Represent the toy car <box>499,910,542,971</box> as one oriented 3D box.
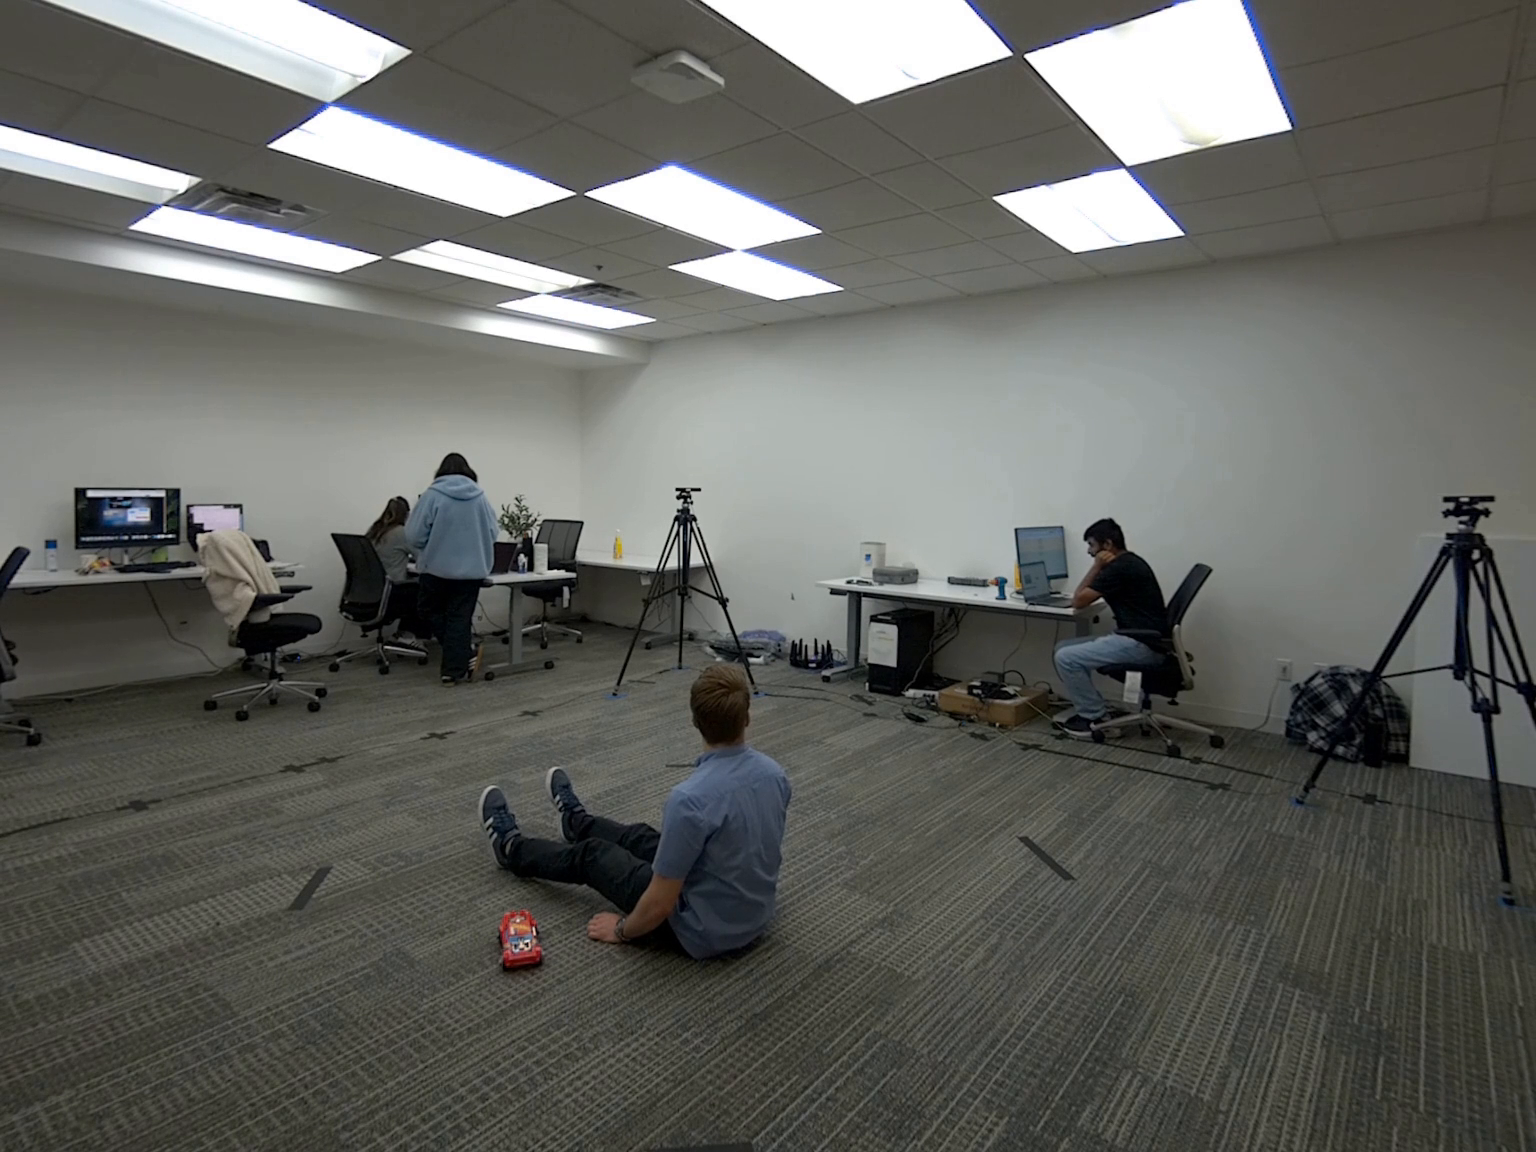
[{"bbox_3d":[-0.758,1.091,2.535,0.128,0.082,0.263,-4,16,-21],"label":"toy car"}]
